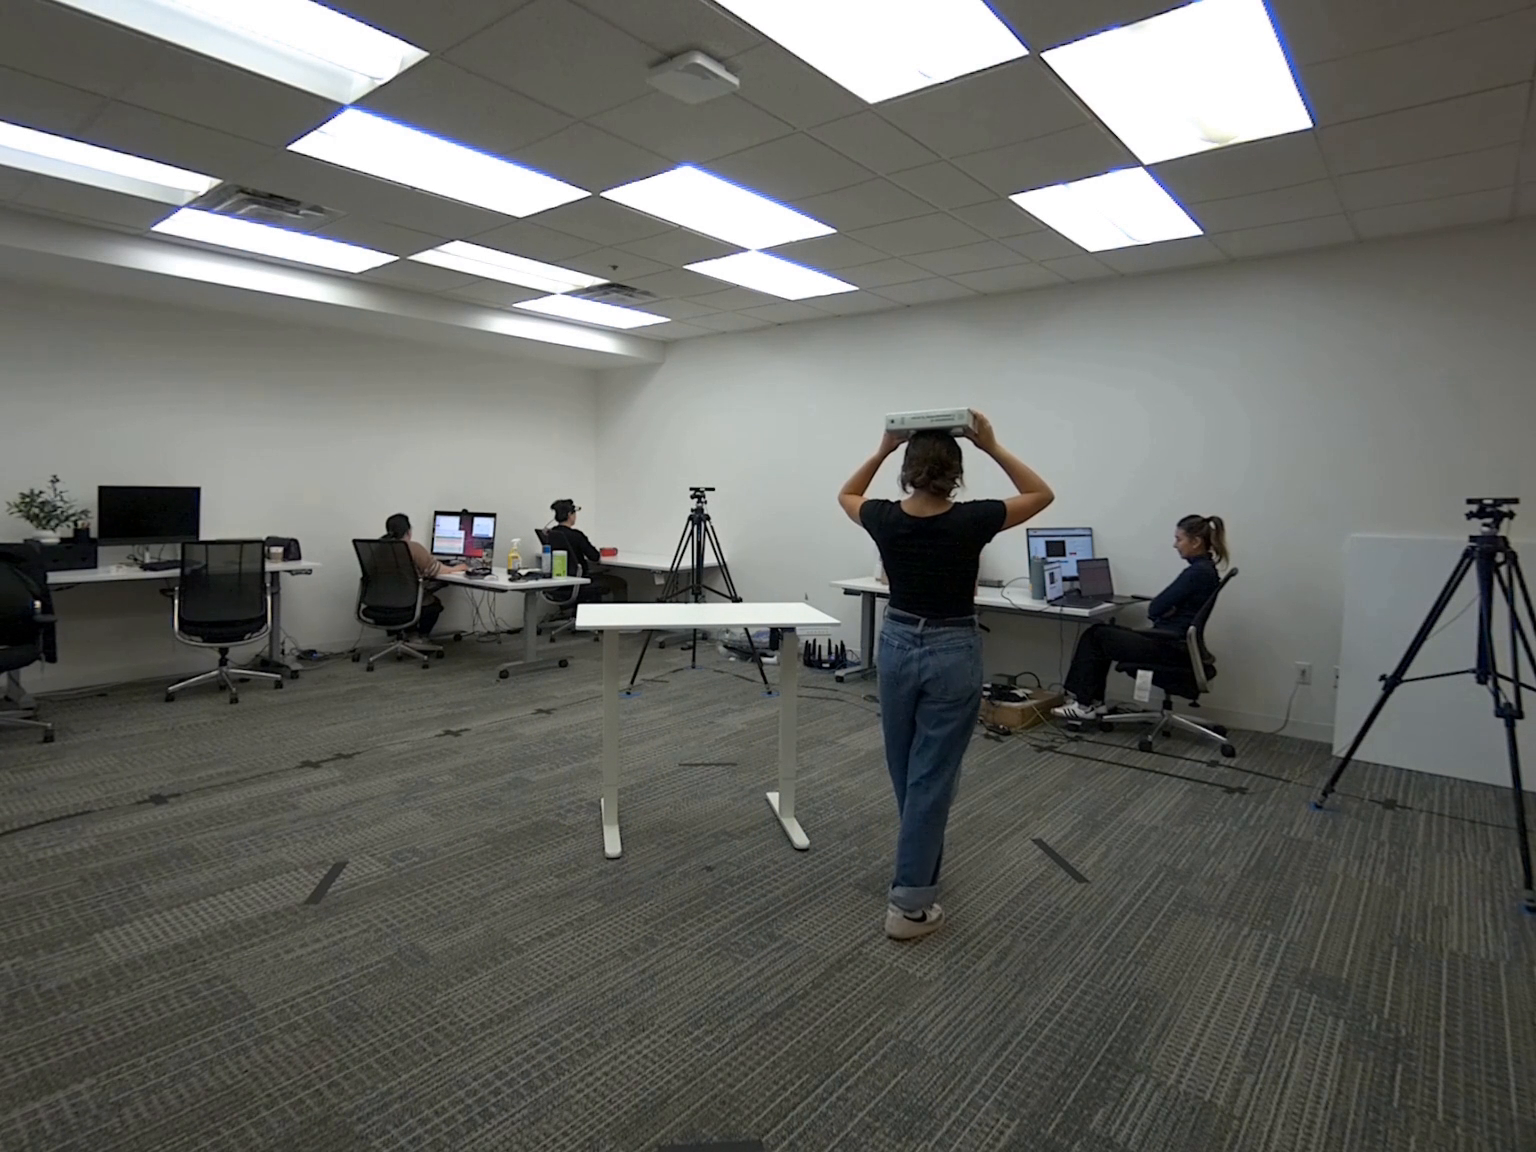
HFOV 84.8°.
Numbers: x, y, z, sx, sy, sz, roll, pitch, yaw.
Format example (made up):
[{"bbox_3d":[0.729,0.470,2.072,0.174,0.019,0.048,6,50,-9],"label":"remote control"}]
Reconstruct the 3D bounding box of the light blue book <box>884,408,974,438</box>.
[{"bbox_3d":[0.518,-0.495,2.748,0.268,0.059,0.186,1,0,26],"label":"light blue book"}]
